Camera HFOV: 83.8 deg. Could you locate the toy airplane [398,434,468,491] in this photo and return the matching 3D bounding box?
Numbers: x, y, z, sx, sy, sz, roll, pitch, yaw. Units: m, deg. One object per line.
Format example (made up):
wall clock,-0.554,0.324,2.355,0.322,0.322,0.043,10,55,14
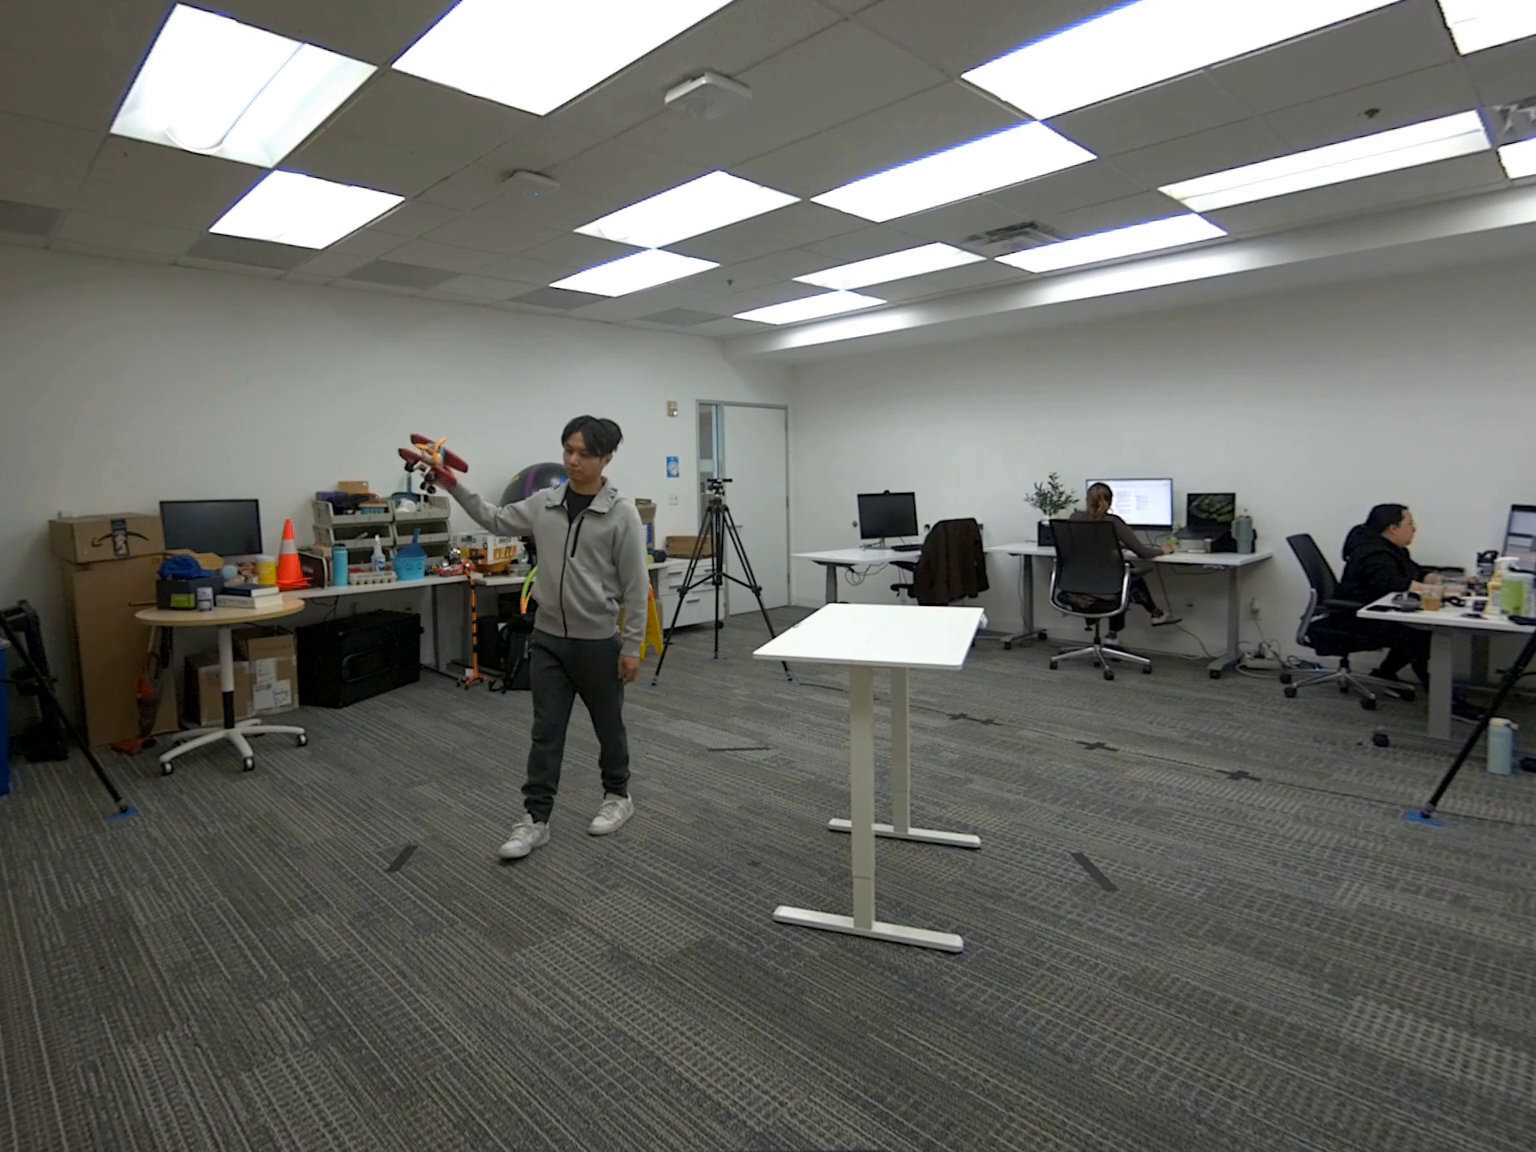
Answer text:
toy airplane,-1.333,-0.417,3.339,0.243,0.157,0.266,39,-19,-28
